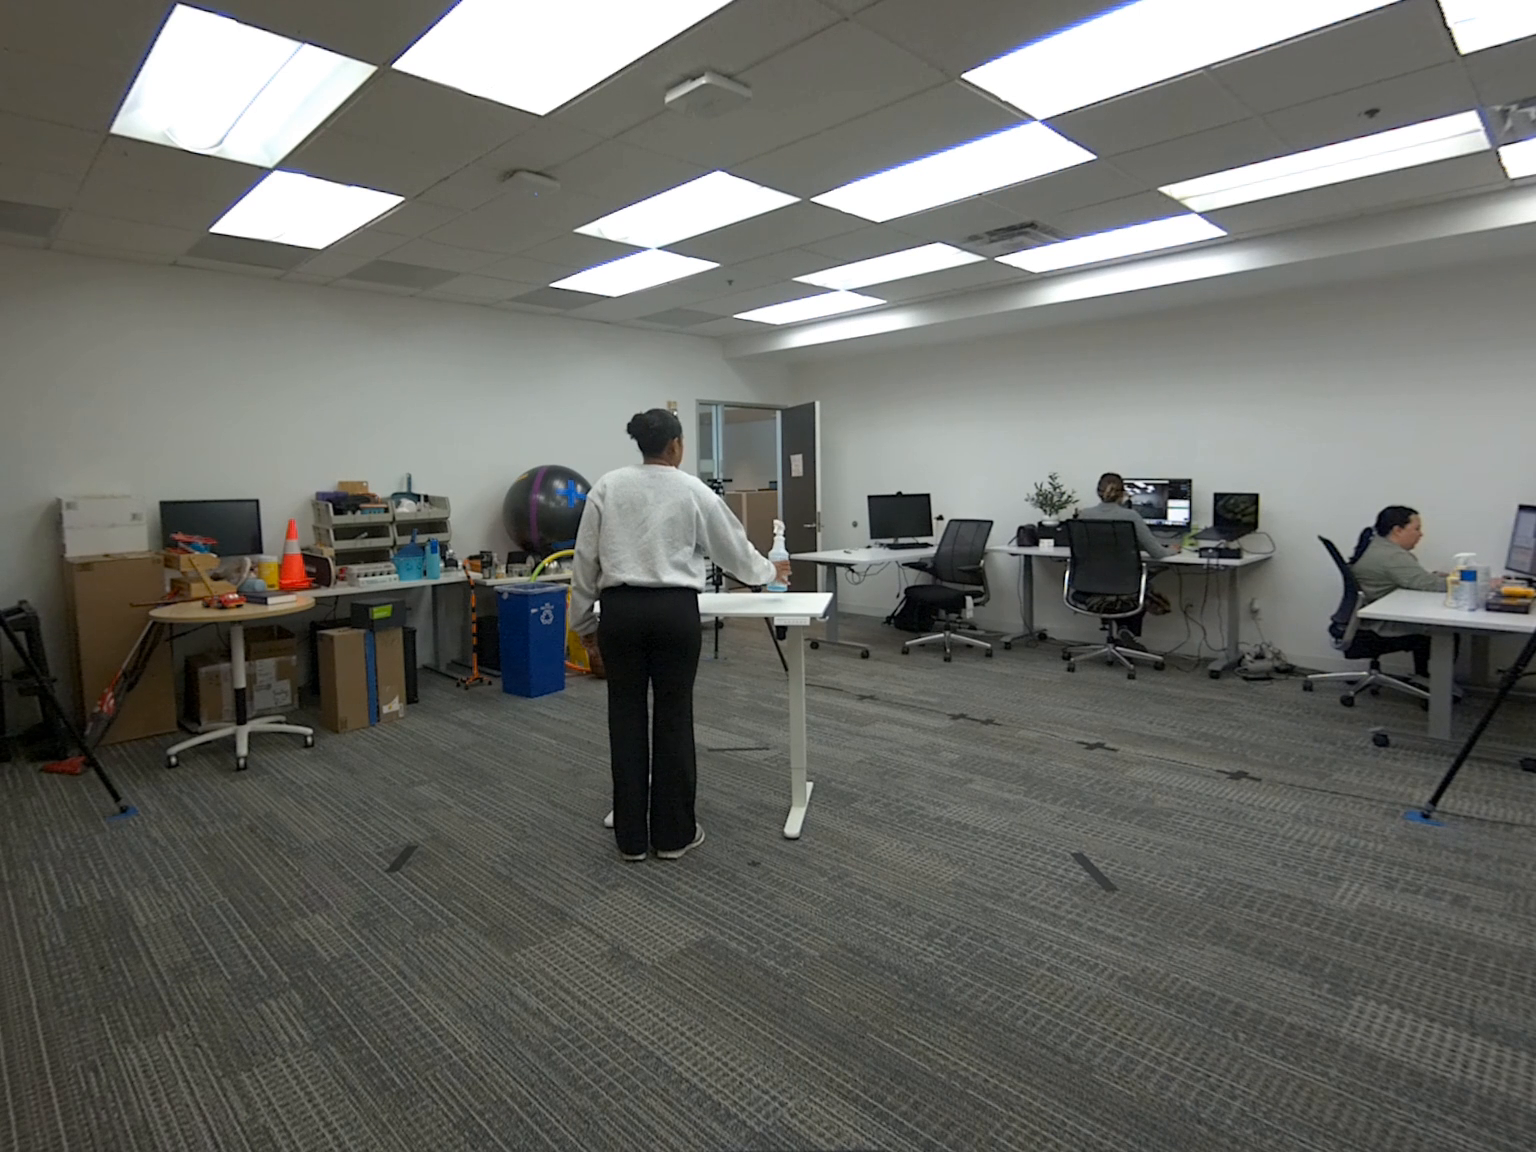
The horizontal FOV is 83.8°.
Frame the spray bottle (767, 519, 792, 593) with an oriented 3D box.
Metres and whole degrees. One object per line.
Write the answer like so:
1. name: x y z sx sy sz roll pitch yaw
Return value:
1. spray bottle: 0.045 -0.086 3.641 0.087 0.298 0.089 7 -5 -40
